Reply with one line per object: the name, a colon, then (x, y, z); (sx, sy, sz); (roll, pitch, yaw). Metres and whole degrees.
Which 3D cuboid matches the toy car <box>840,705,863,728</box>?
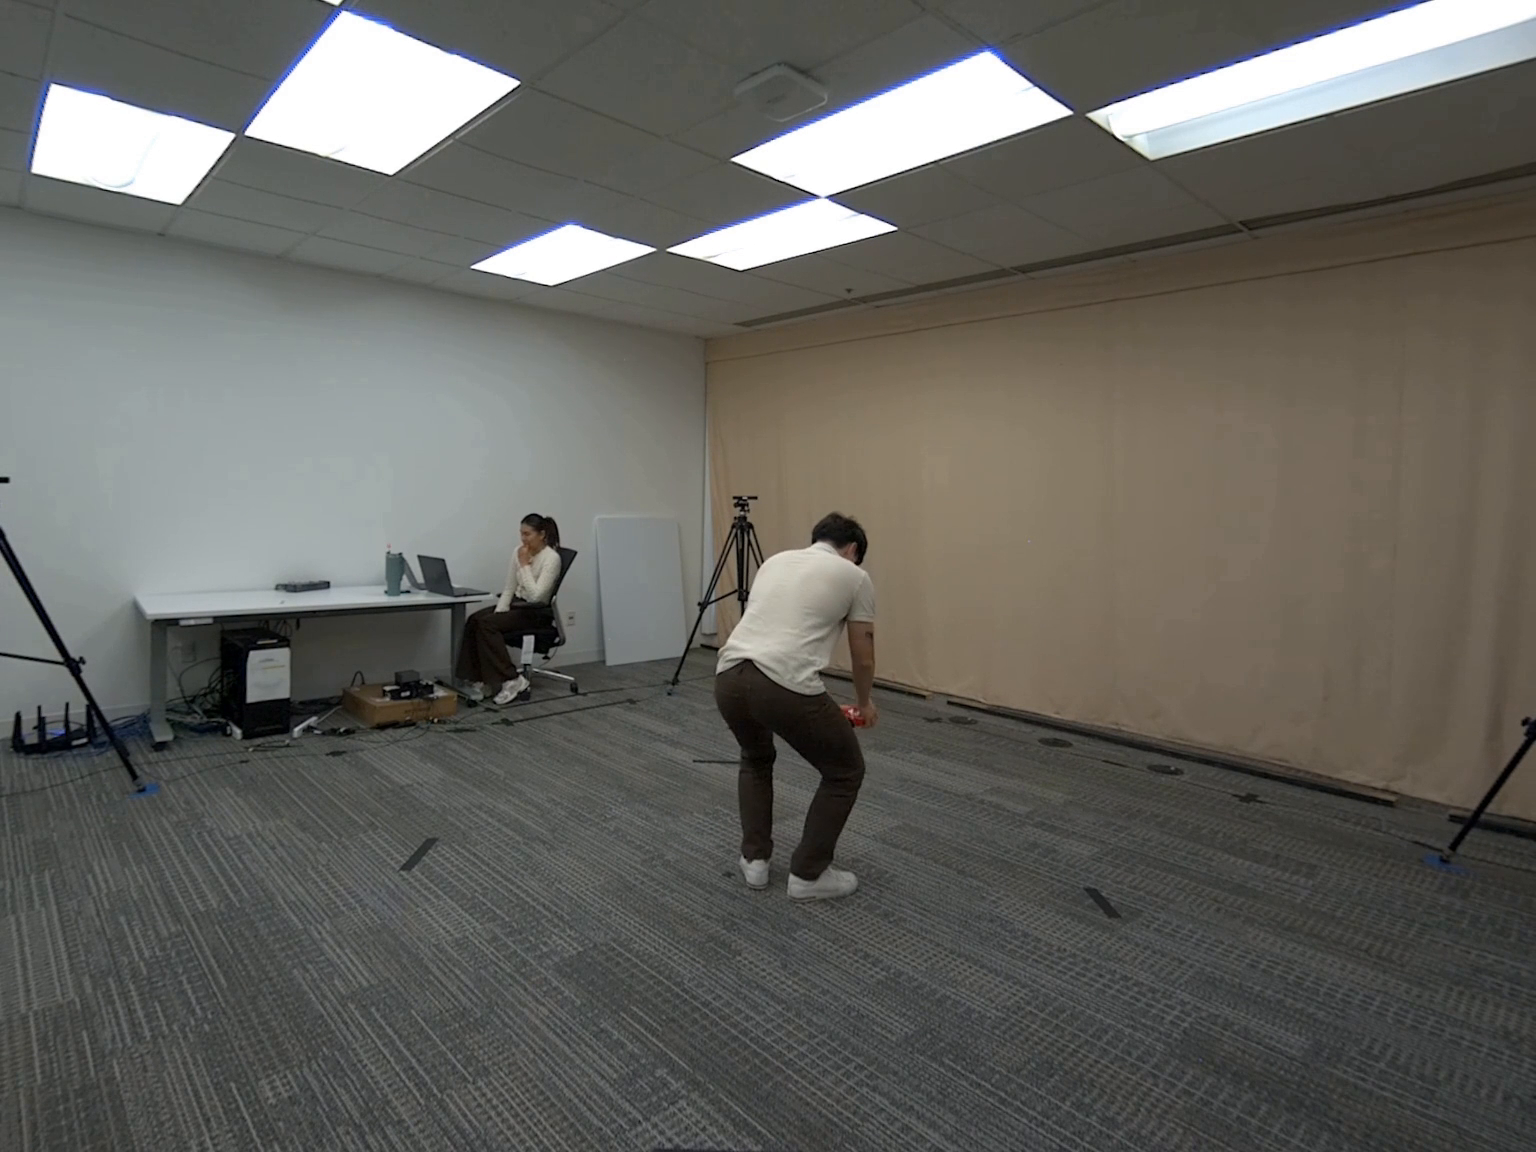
toy car: (0.300, 0.564, 3.327); (0.259, 0.083, 0.127); (-8, -2, 38)
